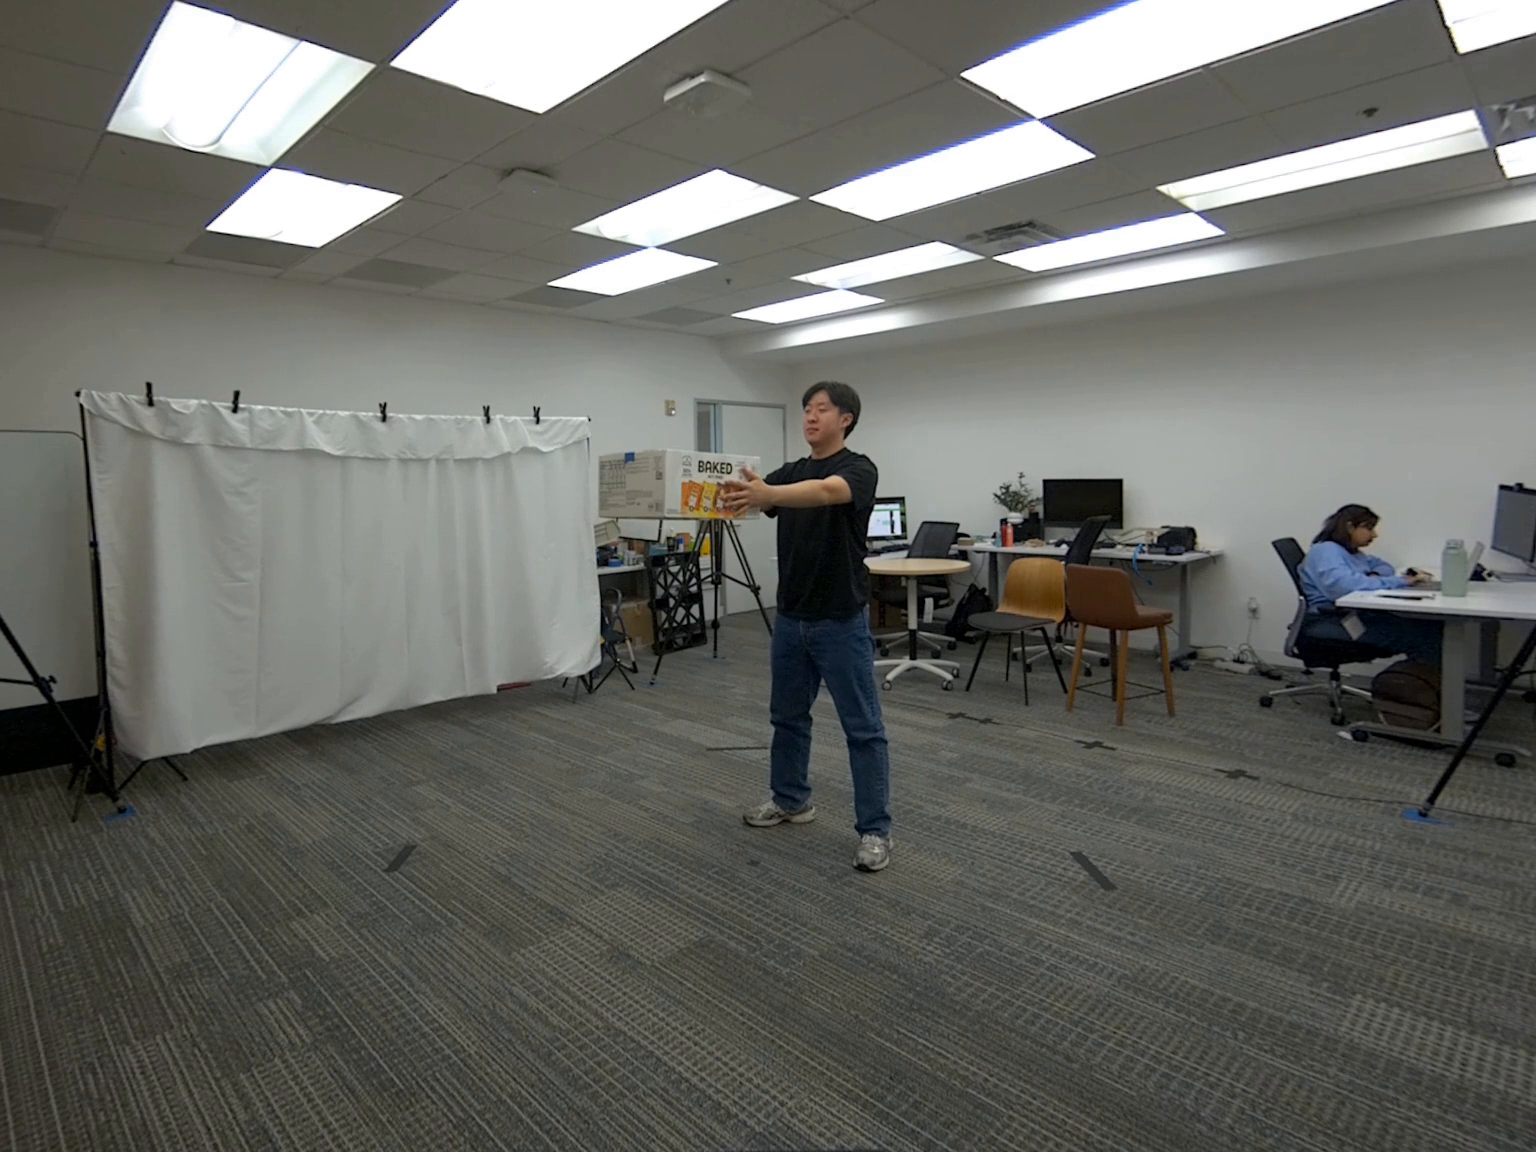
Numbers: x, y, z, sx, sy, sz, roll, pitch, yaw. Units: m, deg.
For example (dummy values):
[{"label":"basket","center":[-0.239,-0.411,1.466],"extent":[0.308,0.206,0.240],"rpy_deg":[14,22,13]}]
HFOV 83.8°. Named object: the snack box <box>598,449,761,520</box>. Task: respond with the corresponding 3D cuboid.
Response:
[{"label":"snack box","center":[-0.283,-0.288,2.758],"extent":[0.350,0.205,0.394],"rpy_deg":[2,4,44]}]
